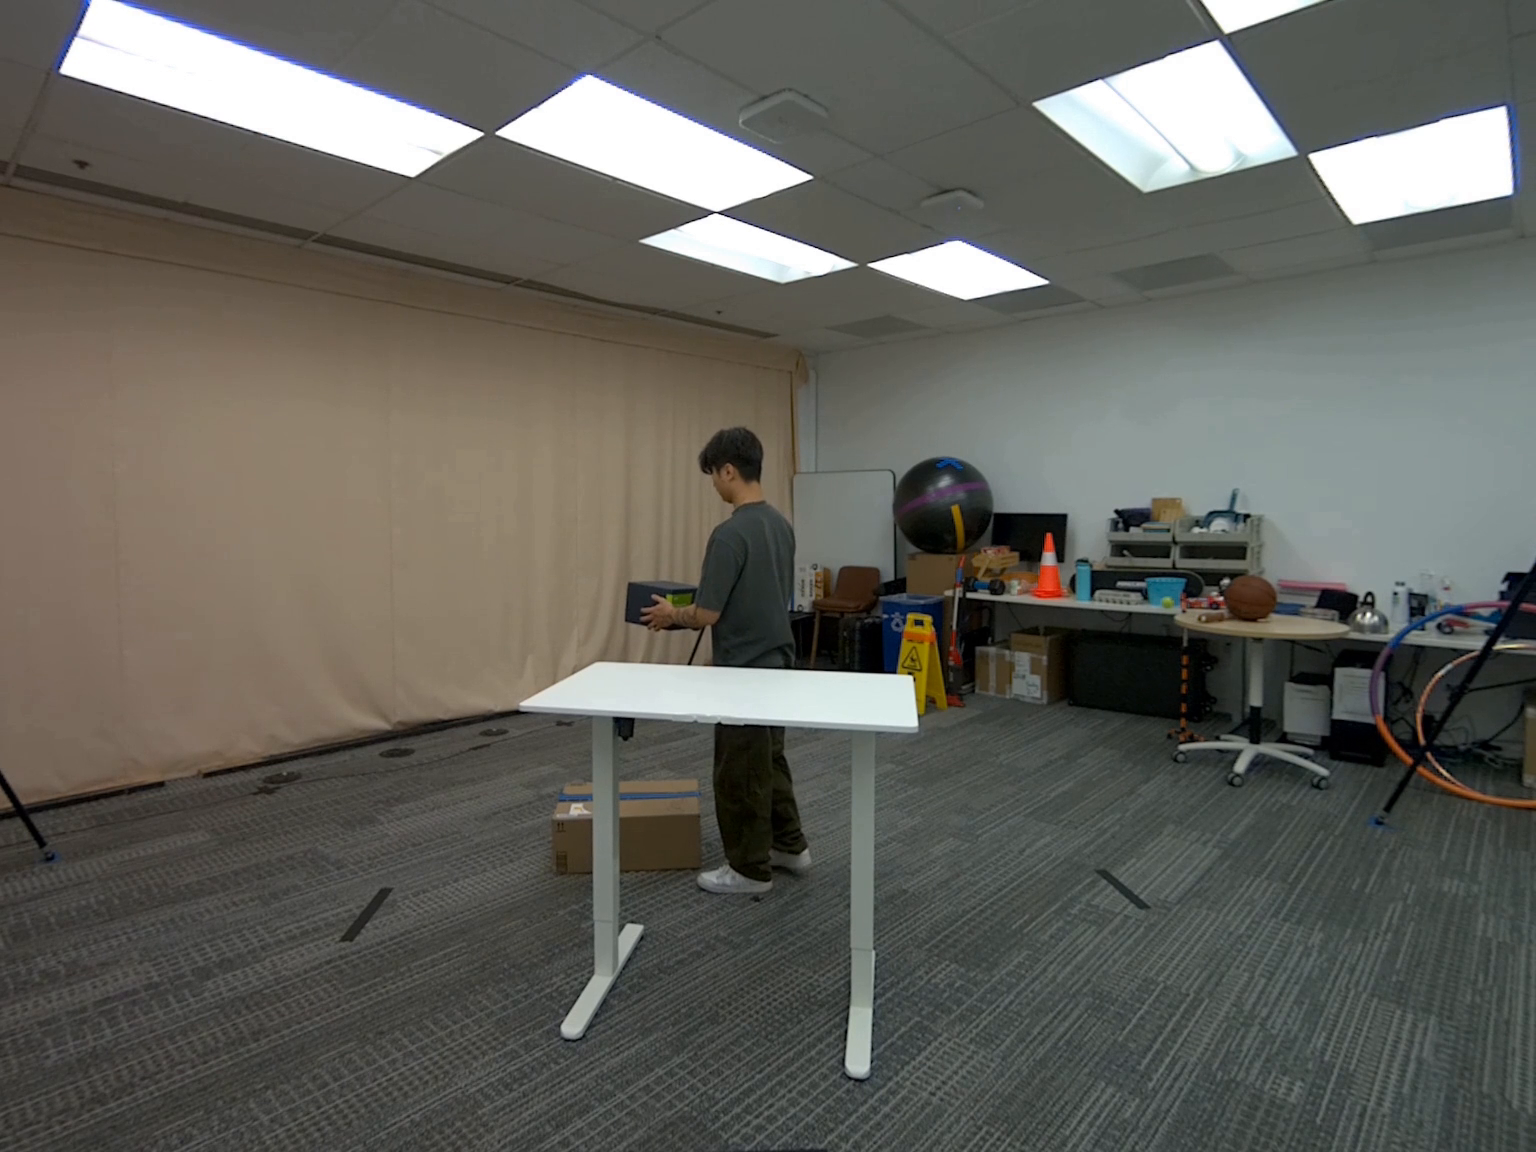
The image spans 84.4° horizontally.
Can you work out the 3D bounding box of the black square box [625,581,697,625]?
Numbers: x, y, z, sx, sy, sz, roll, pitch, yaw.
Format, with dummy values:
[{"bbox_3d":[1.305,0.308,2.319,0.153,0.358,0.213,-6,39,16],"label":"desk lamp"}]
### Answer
[{"bbox_3d":[-0.400,0.108,3.264,0.223,0.155,0.222,8,5,27],"label":"black square box"}]
